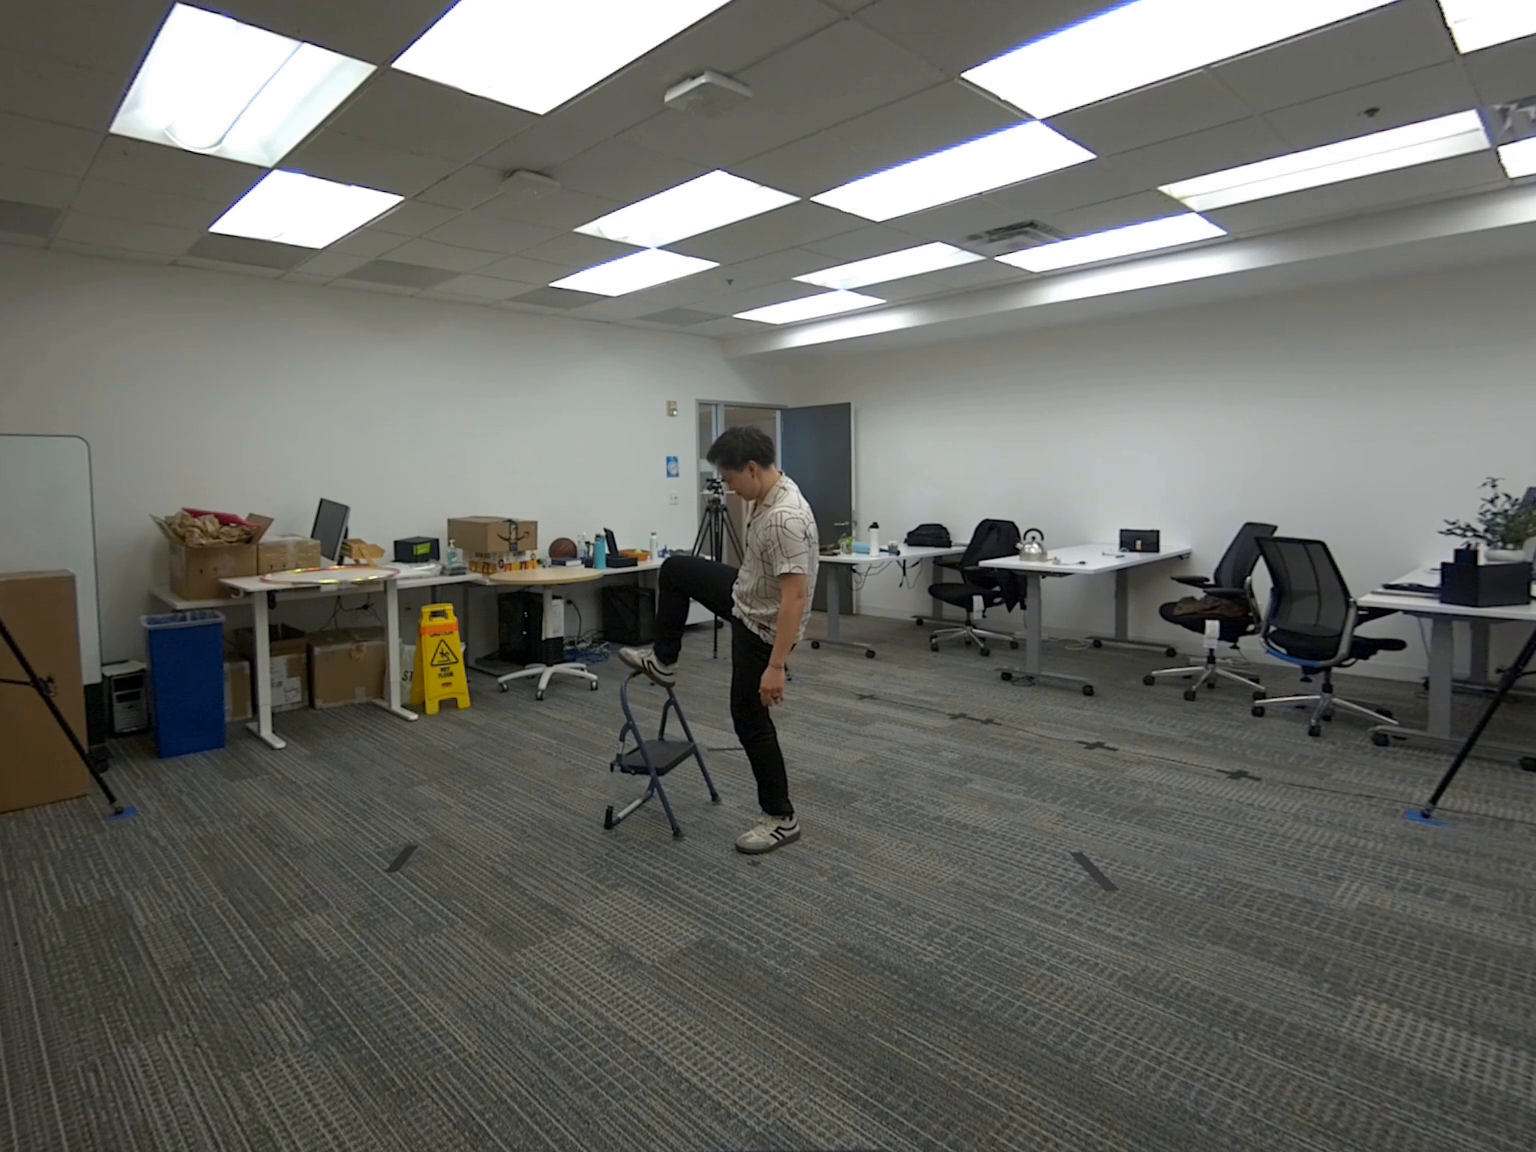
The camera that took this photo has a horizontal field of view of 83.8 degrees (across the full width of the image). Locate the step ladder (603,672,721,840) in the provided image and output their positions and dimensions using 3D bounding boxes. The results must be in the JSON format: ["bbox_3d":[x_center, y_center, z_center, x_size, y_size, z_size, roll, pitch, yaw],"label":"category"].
[{"bbox_3d":[-0.453,0.689,3.550,0.355,0.605,0.424,-3,3,19],"label":"step ladder"}]
